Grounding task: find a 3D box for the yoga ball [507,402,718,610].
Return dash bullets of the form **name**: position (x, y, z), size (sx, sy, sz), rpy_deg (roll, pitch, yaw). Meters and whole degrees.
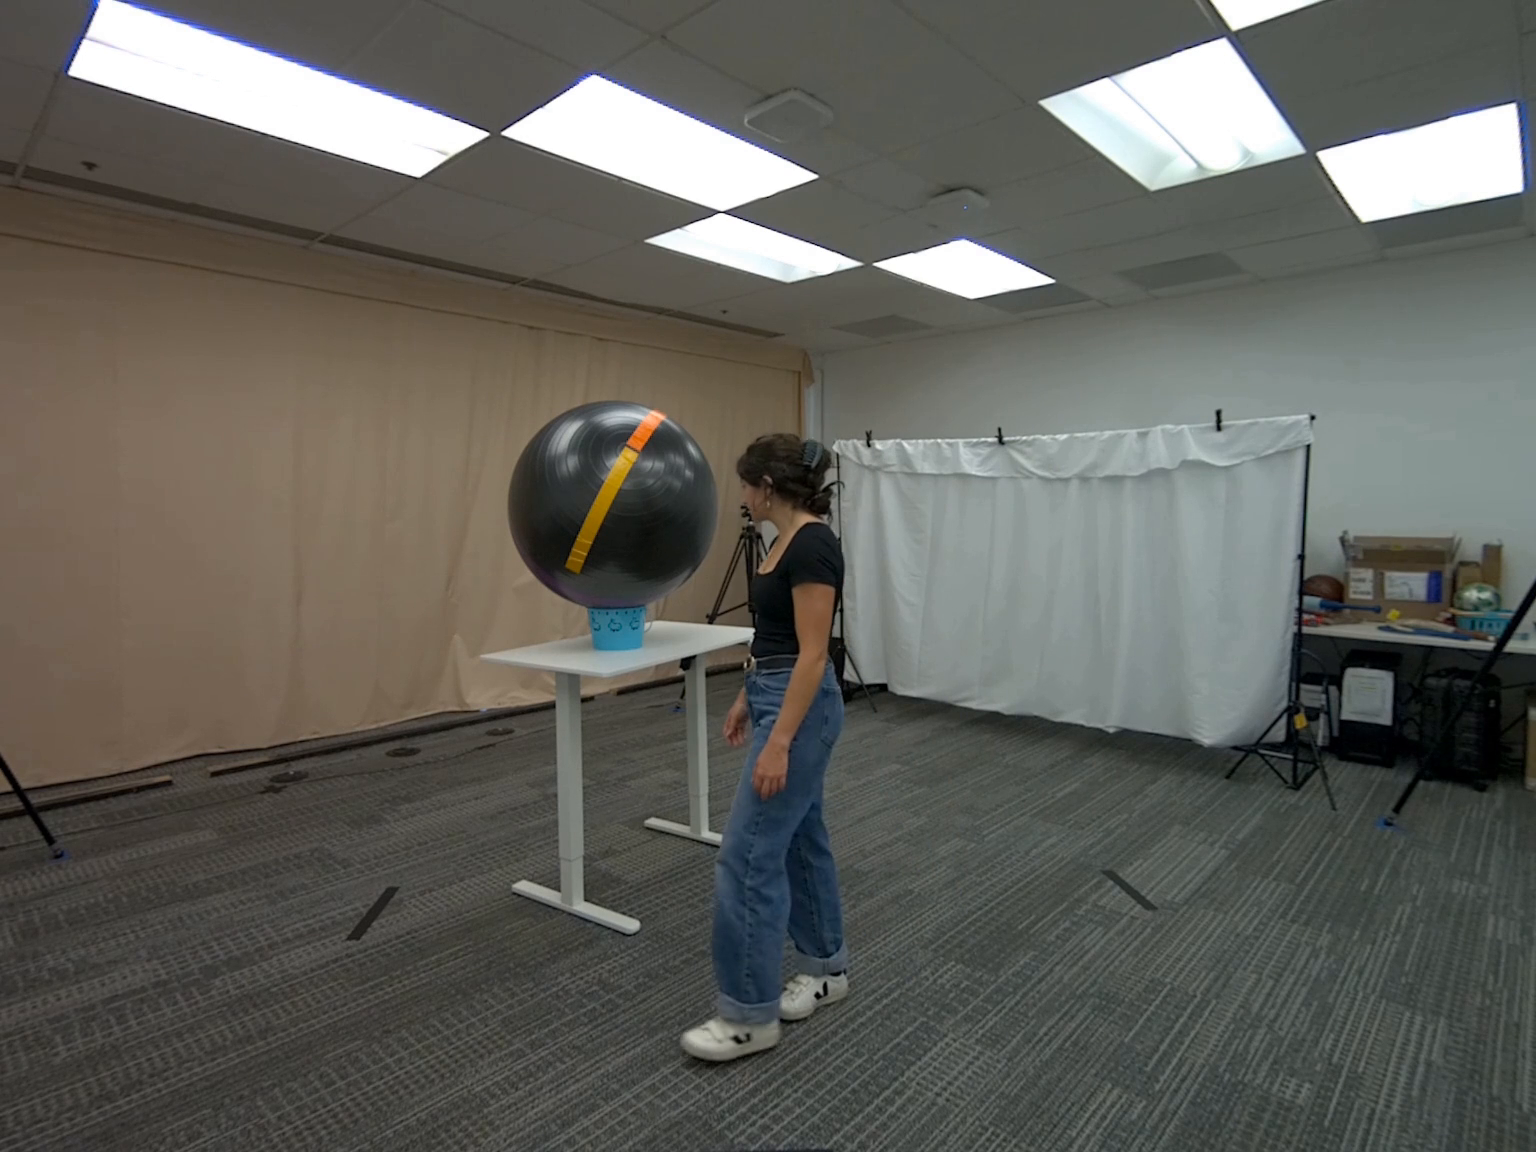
- **yoga ball**: position (-0.559, -0.247, 3.064), size (0.757, 0.756, 0.760), rpy_deg (0, 4, -2)
